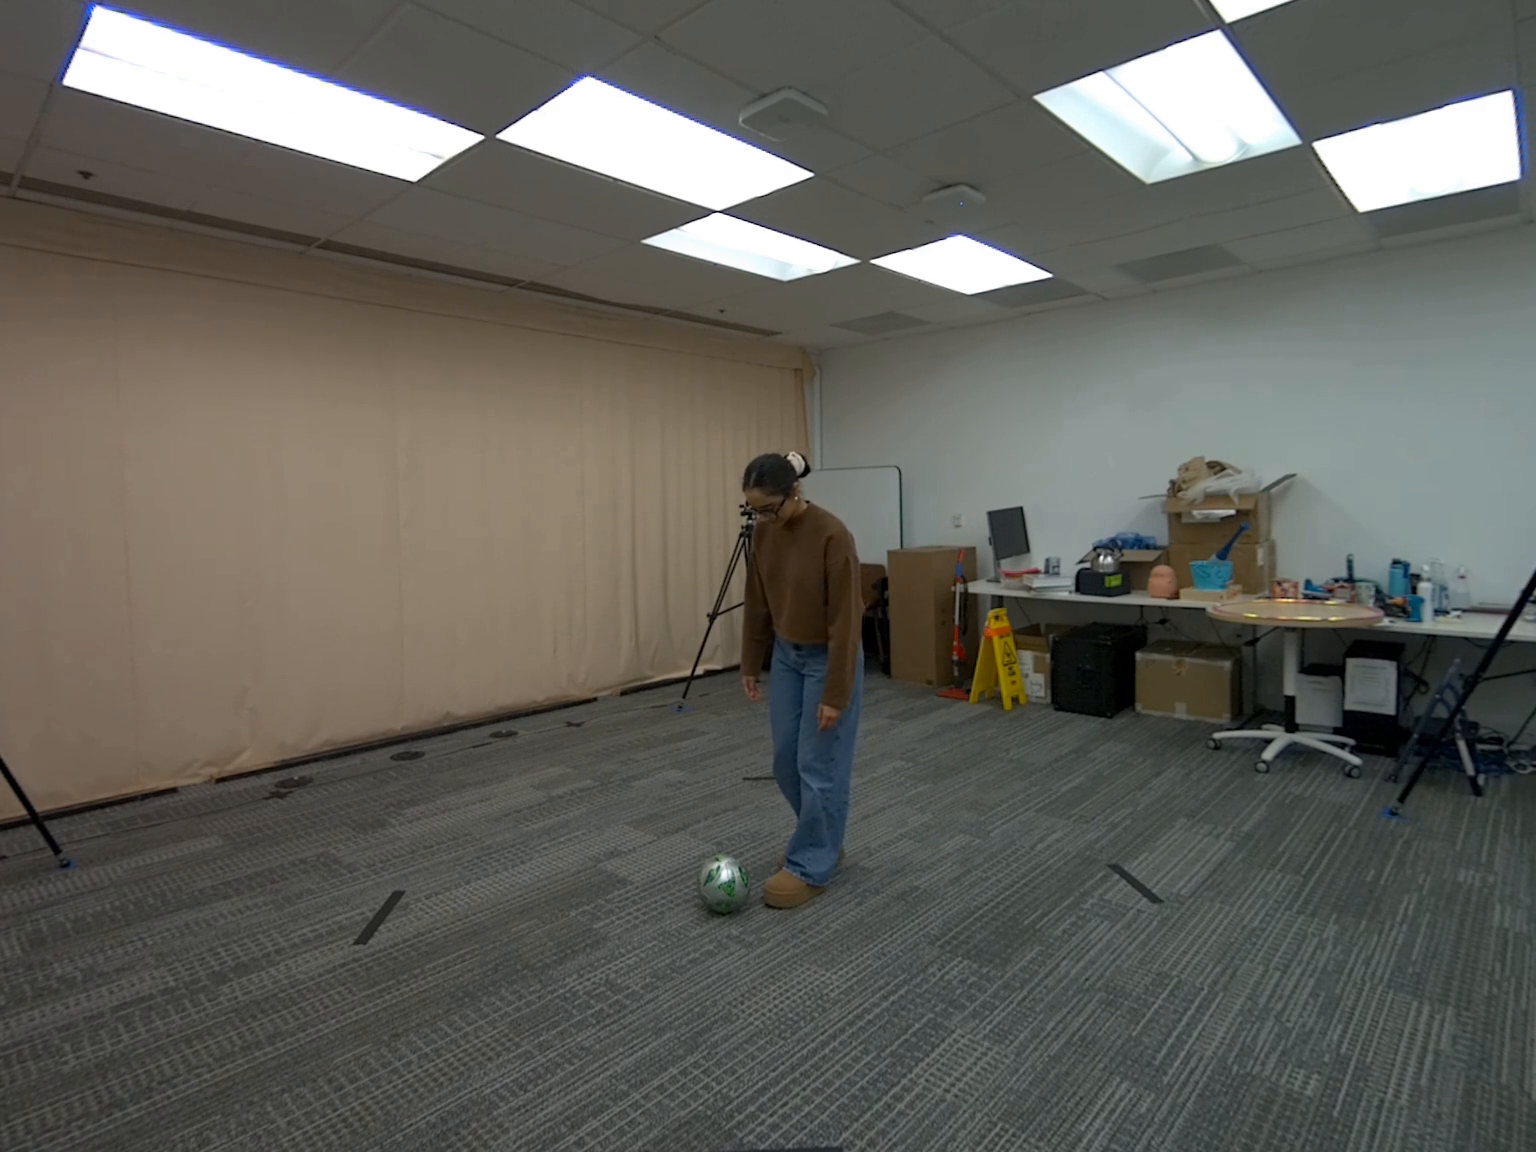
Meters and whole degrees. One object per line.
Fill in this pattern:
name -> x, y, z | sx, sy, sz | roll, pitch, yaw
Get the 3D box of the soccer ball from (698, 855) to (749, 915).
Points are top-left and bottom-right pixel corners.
soccer ball -> -0.148, 1.052, 2.892 | 0.187, 0.187, 0.188 | -1, 4, -2
